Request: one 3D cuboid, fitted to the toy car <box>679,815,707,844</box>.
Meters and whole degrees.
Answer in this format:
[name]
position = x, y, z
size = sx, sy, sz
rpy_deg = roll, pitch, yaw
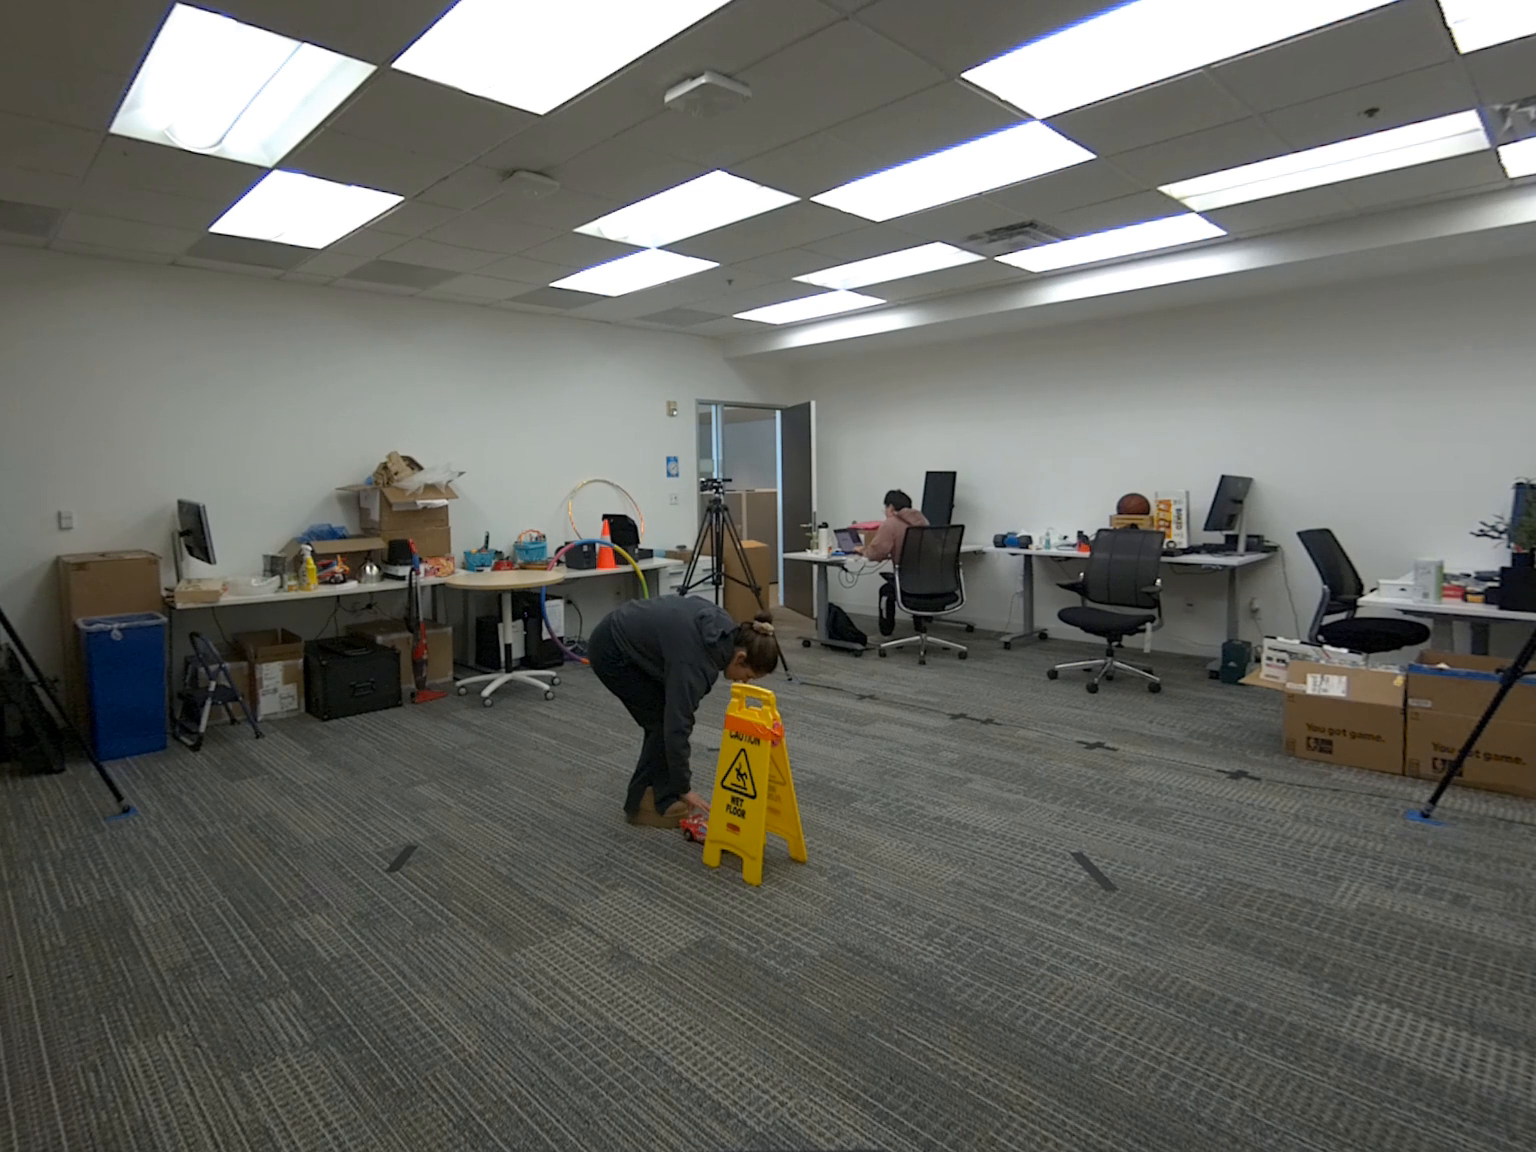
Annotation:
[toy car]
position = -0.231, 0.997, 3.299
size = 0.127, 0.082, 0.264
rpy_deg = -4, 18, -43
